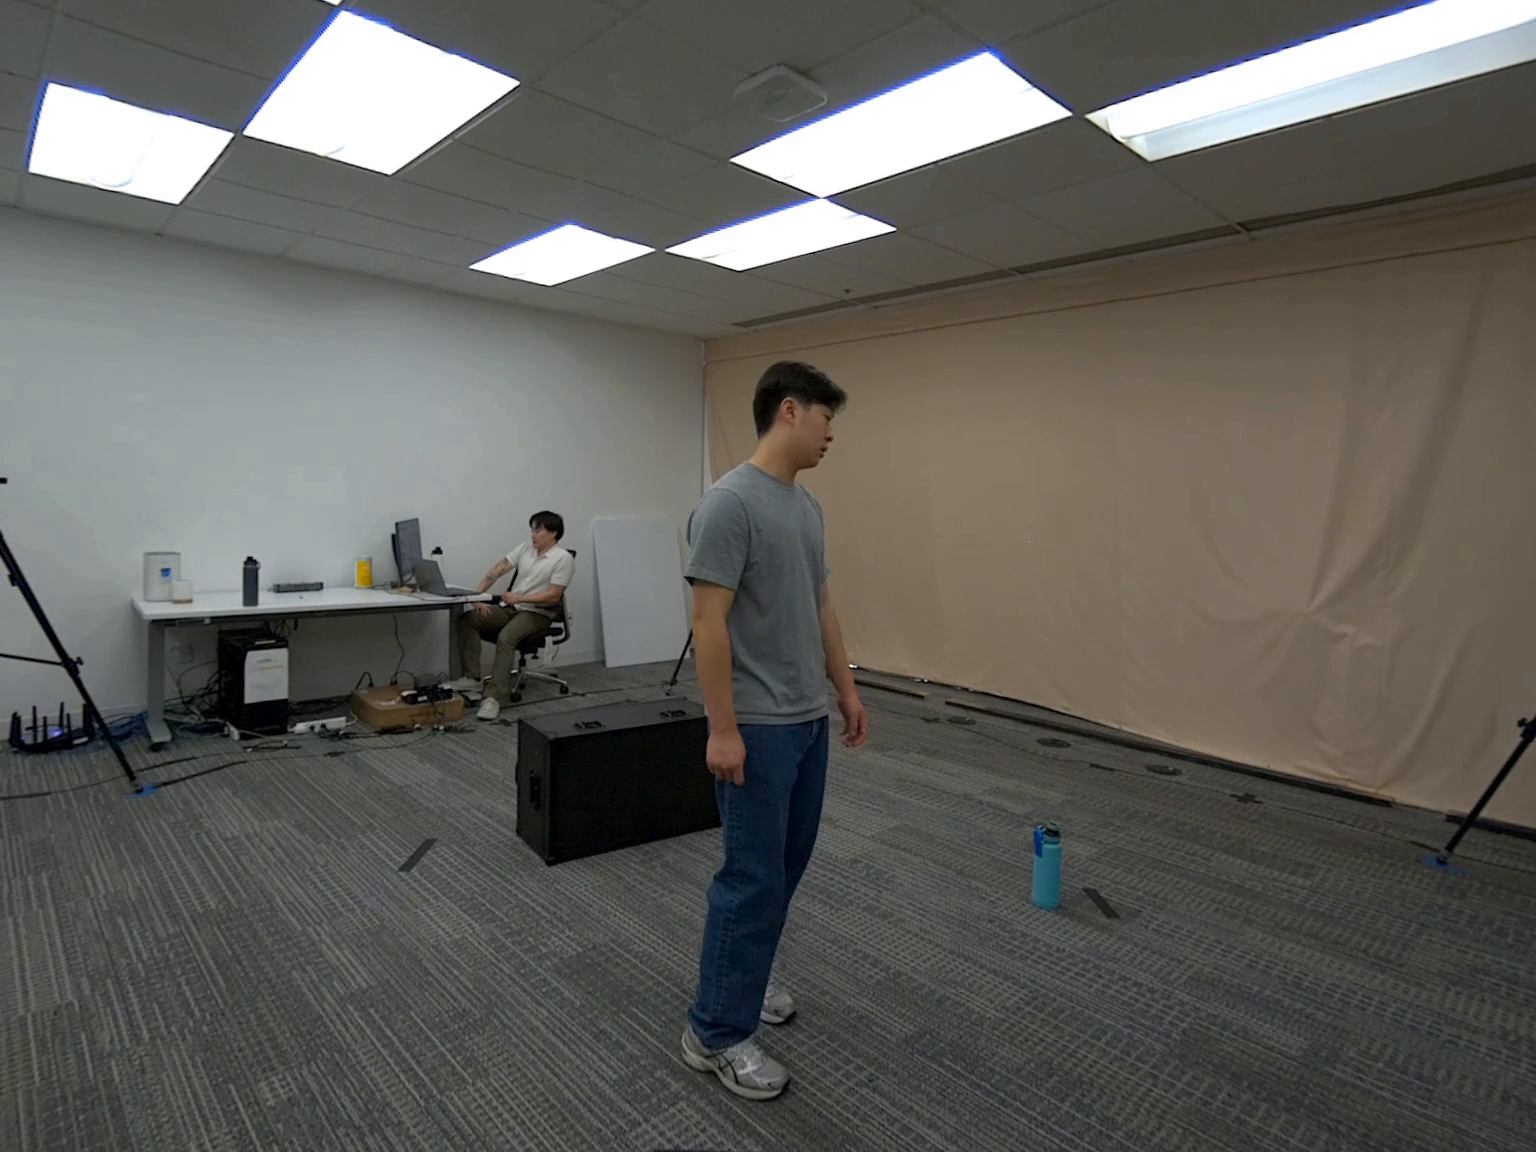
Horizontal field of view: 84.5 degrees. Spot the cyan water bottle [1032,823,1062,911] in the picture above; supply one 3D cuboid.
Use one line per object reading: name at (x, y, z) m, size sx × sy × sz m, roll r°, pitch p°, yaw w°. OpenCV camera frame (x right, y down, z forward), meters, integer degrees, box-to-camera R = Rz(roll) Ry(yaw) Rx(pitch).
cyan water bottle at (0.972, 1.011, 2.944) m, size 0.092 × 0.282 × 0.093 m, roll 1°, pitch 4°, yaw -1°
